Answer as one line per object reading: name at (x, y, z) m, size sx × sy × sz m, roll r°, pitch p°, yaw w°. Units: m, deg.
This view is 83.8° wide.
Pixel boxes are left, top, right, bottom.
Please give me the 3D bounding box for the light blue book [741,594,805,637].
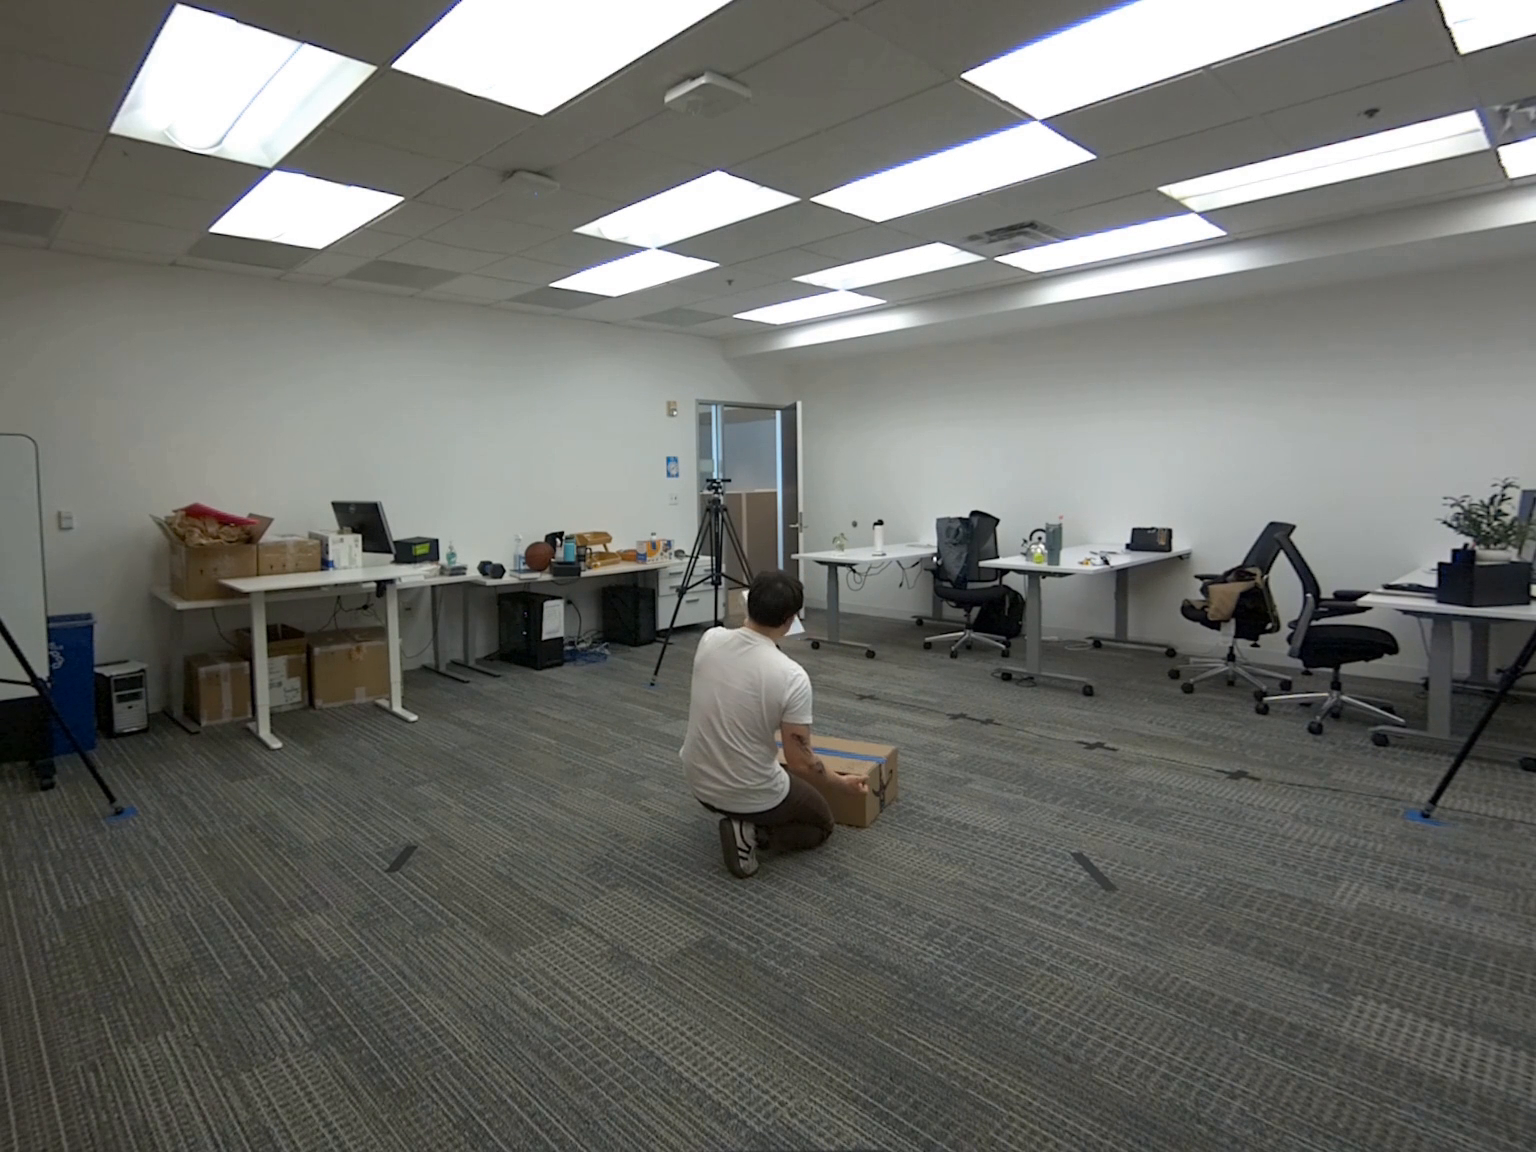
light blue book at (0.019, 0.171, 3.653) m, size 0.188 × 0.270 × 0.058 m, roll -9°, pitch -38°, yaw -24°
